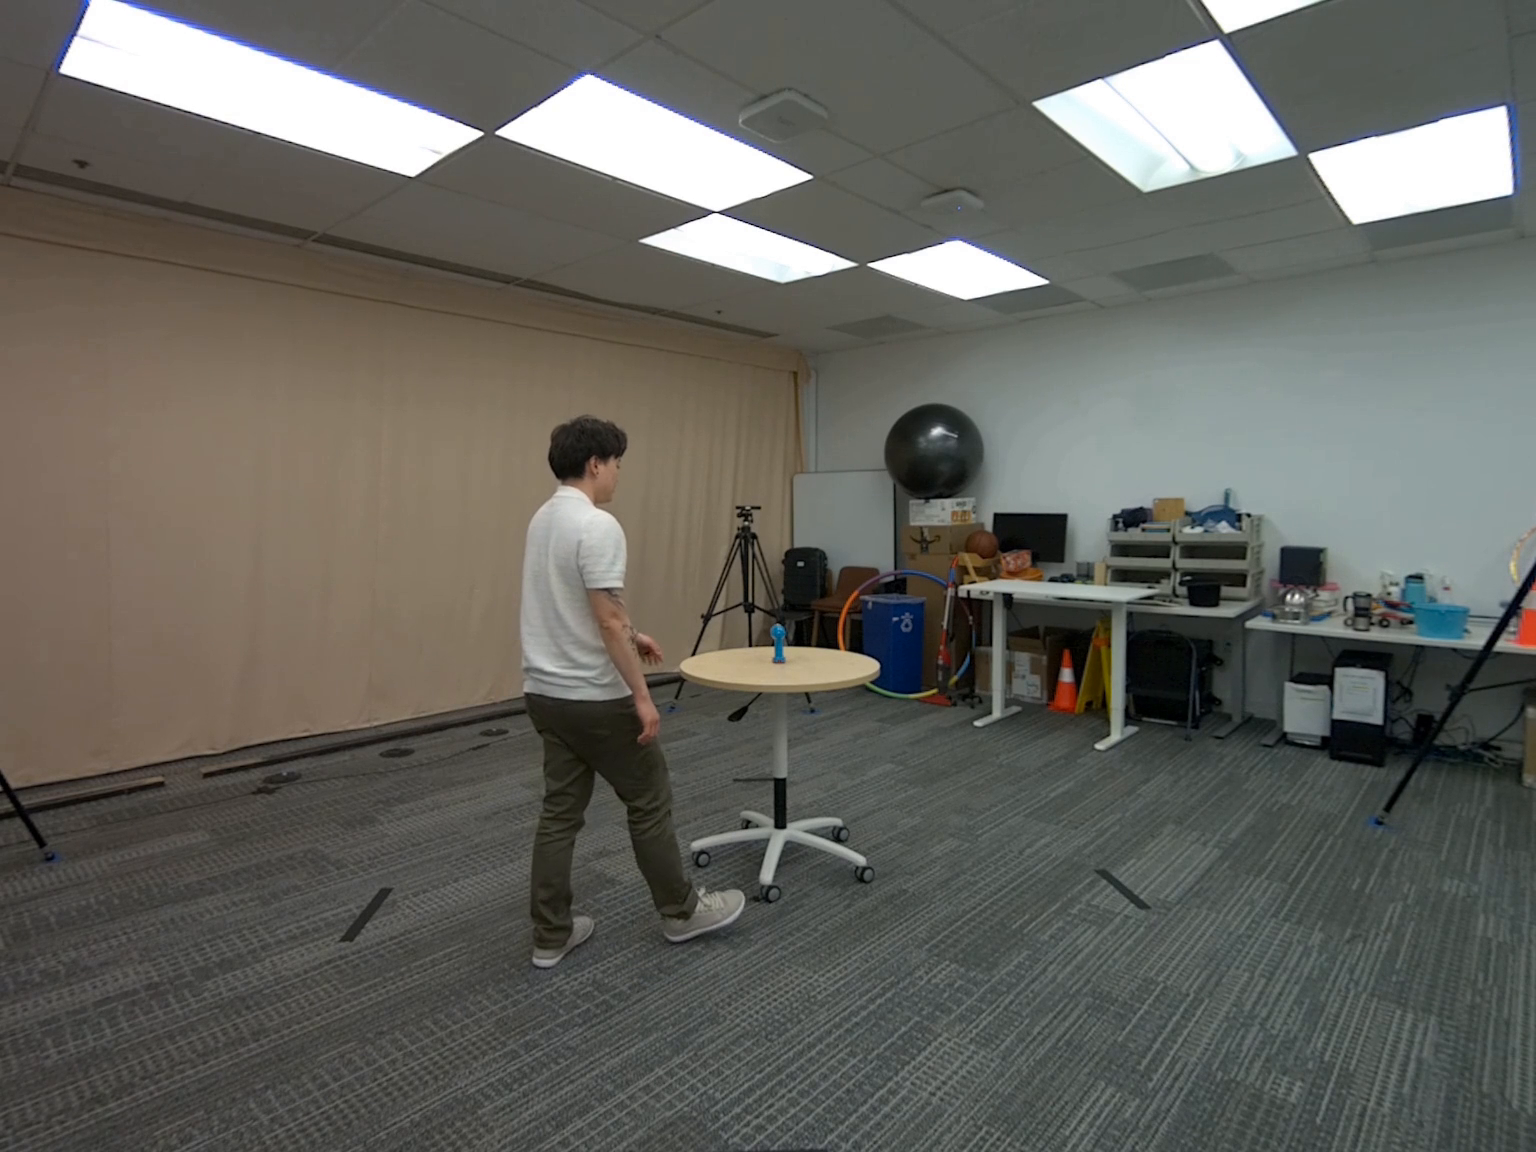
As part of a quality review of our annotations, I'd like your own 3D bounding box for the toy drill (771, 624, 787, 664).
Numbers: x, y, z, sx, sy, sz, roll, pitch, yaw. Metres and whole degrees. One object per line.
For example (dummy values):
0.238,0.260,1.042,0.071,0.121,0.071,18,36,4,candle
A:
0.036,0.259,3.312,0.061,0.145,0.171,-2,5,-7,toy drill
